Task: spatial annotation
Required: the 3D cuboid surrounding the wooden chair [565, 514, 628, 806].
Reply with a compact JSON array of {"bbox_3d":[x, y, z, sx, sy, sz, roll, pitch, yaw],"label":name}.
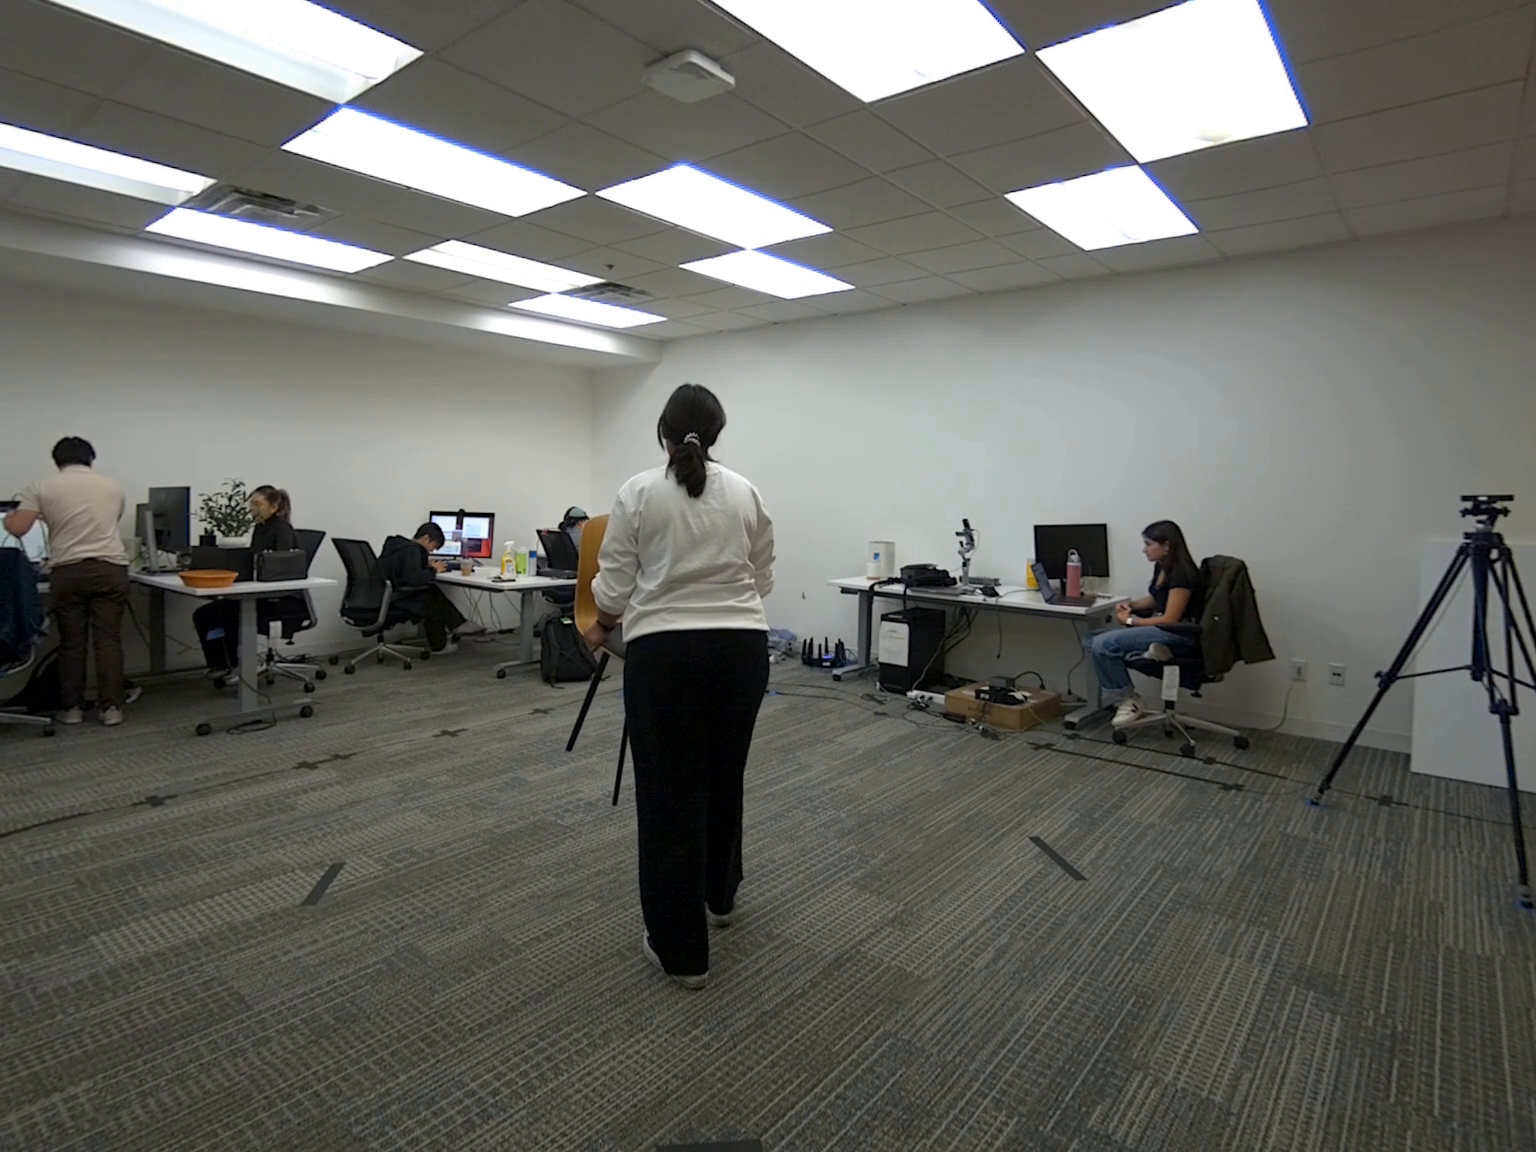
[{"bbox_3d":[-0.377,0.244,2.873,0.465,0.873,0.540,-1,7,-31],"label":"wooden chair"}]
